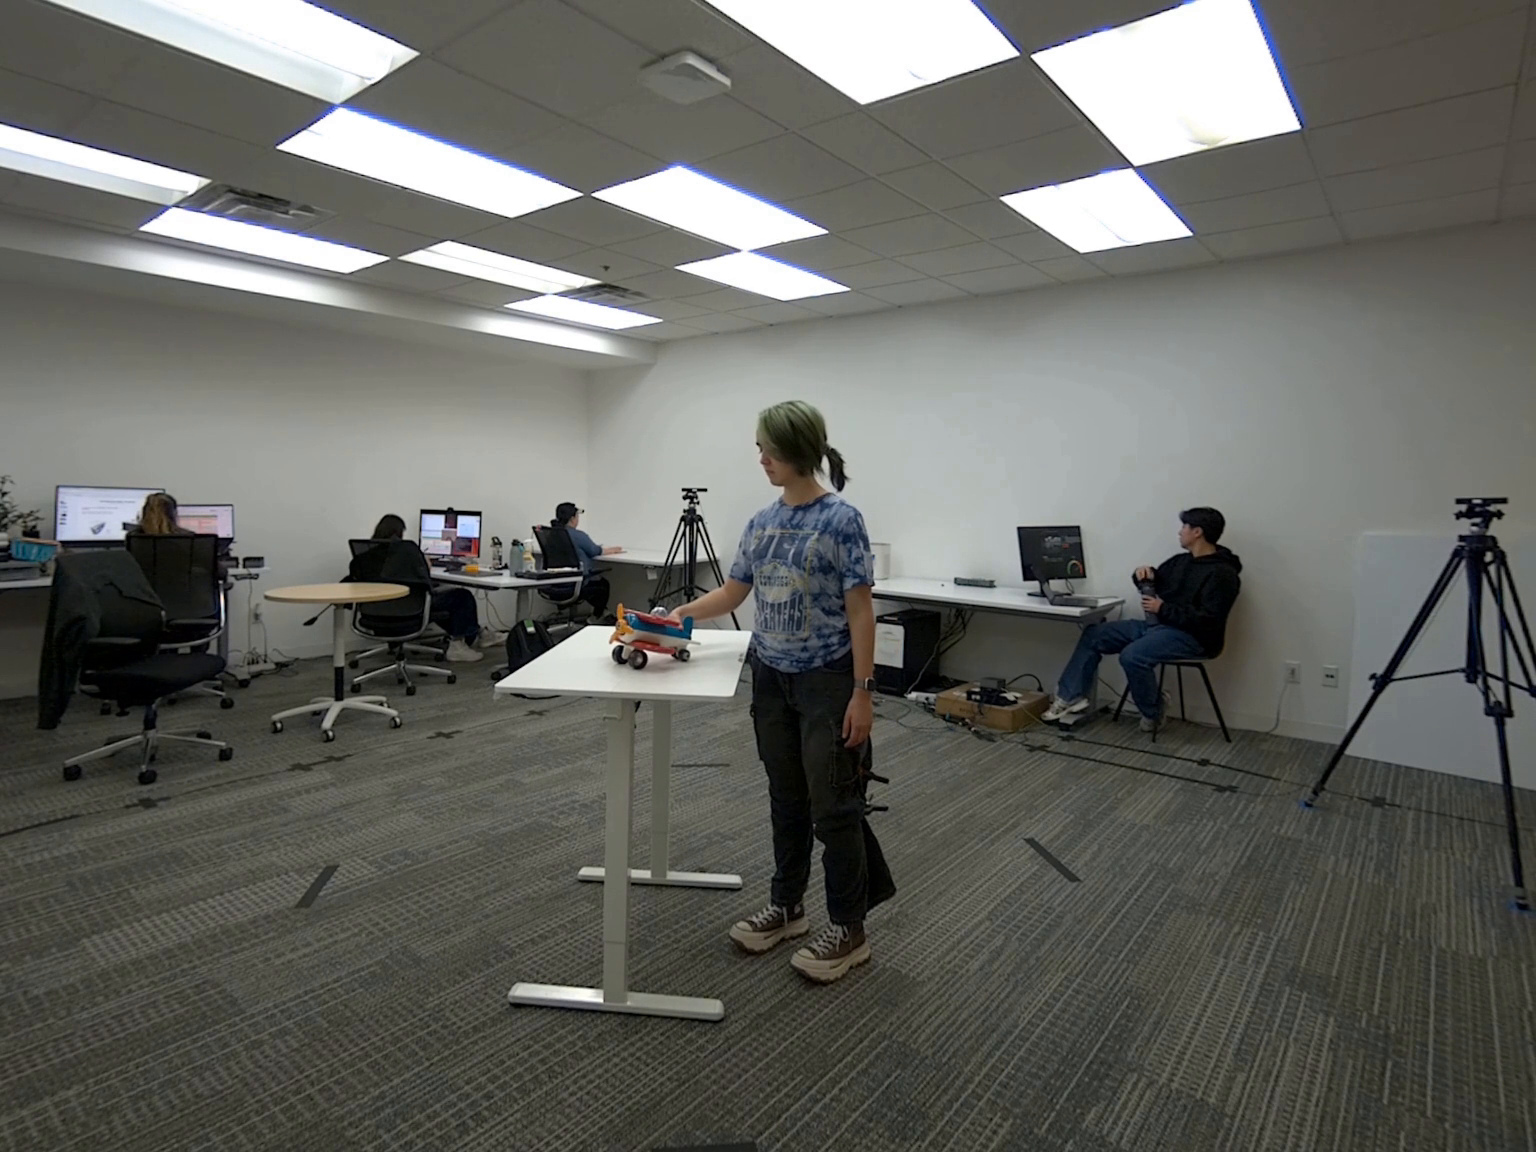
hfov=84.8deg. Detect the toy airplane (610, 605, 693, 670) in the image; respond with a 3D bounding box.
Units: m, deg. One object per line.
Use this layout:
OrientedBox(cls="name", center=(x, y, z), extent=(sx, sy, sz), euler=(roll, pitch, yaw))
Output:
OrientedBox(cls="toy airplane", center=(-0.345, 0.171, 2.459), extent=(0.257, 0.156, 0.254), euler=(5, 7, 22))
